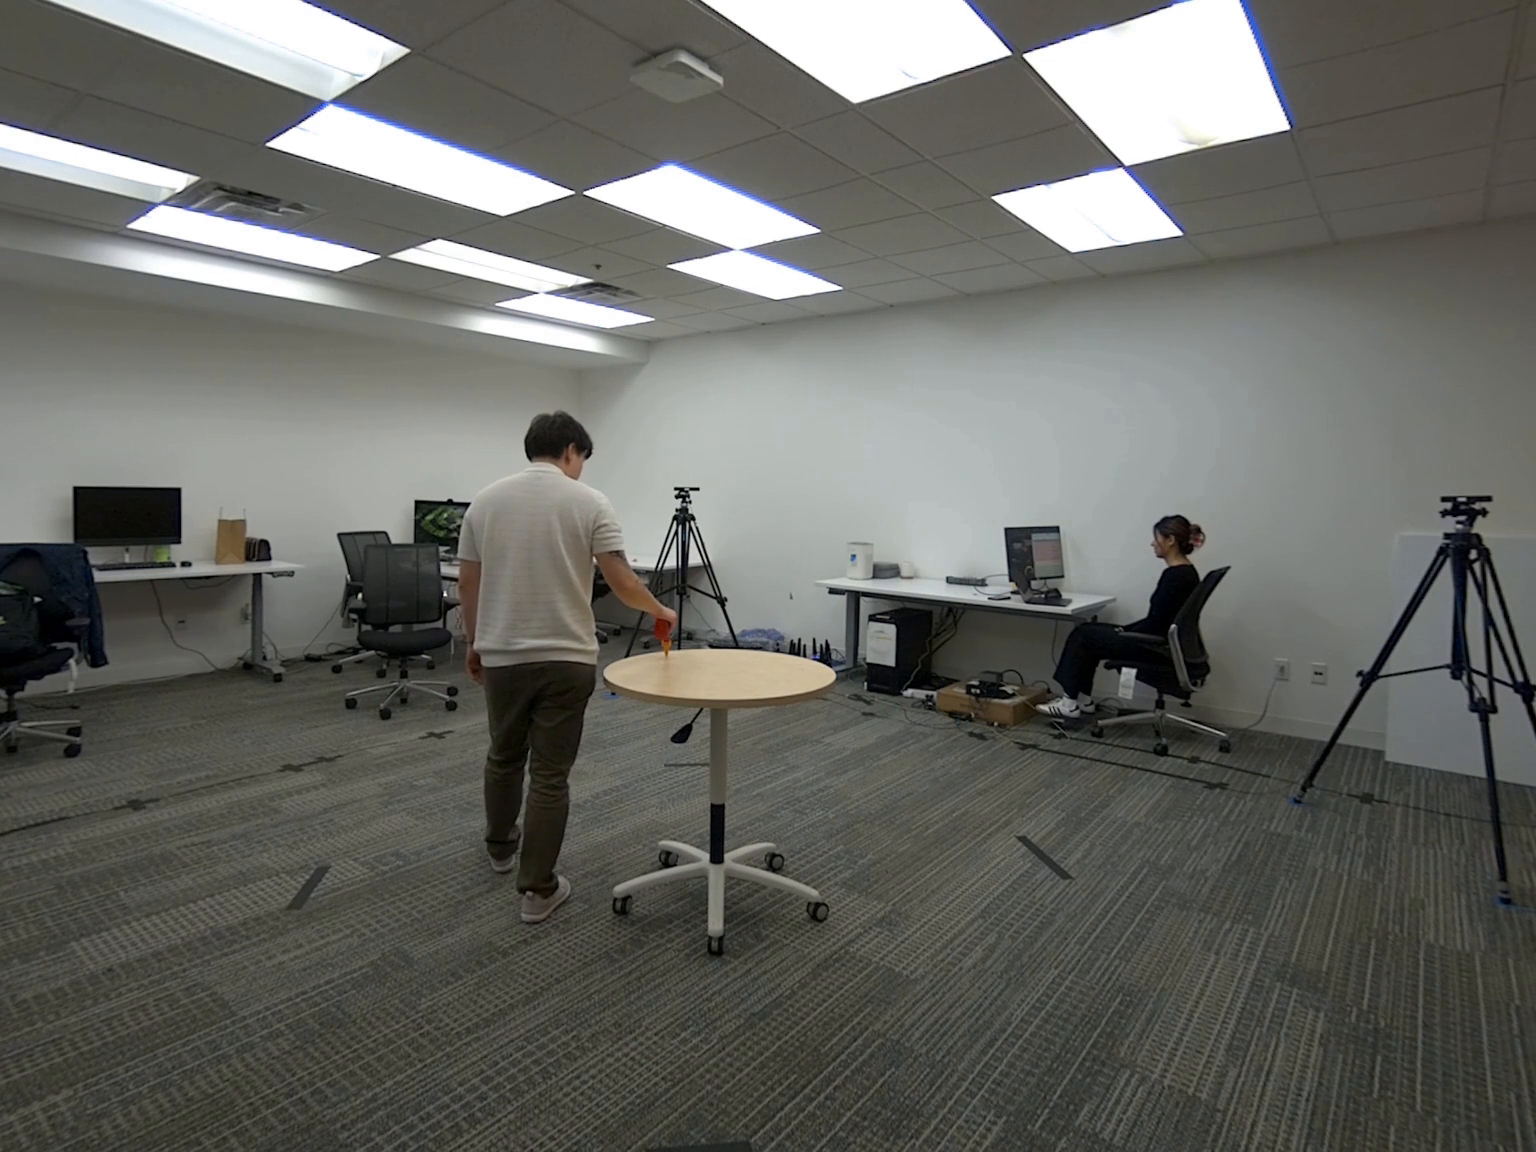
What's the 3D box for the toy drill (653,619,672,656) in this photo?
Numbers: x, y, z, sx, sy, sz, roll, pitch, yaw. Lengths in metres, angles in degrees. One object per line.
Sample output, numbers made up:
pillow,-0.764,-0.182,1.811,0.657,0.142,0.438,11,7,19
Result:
toy drill,-0.377,0.209,3.011,0.061,0.168,0.146,5,9,3
